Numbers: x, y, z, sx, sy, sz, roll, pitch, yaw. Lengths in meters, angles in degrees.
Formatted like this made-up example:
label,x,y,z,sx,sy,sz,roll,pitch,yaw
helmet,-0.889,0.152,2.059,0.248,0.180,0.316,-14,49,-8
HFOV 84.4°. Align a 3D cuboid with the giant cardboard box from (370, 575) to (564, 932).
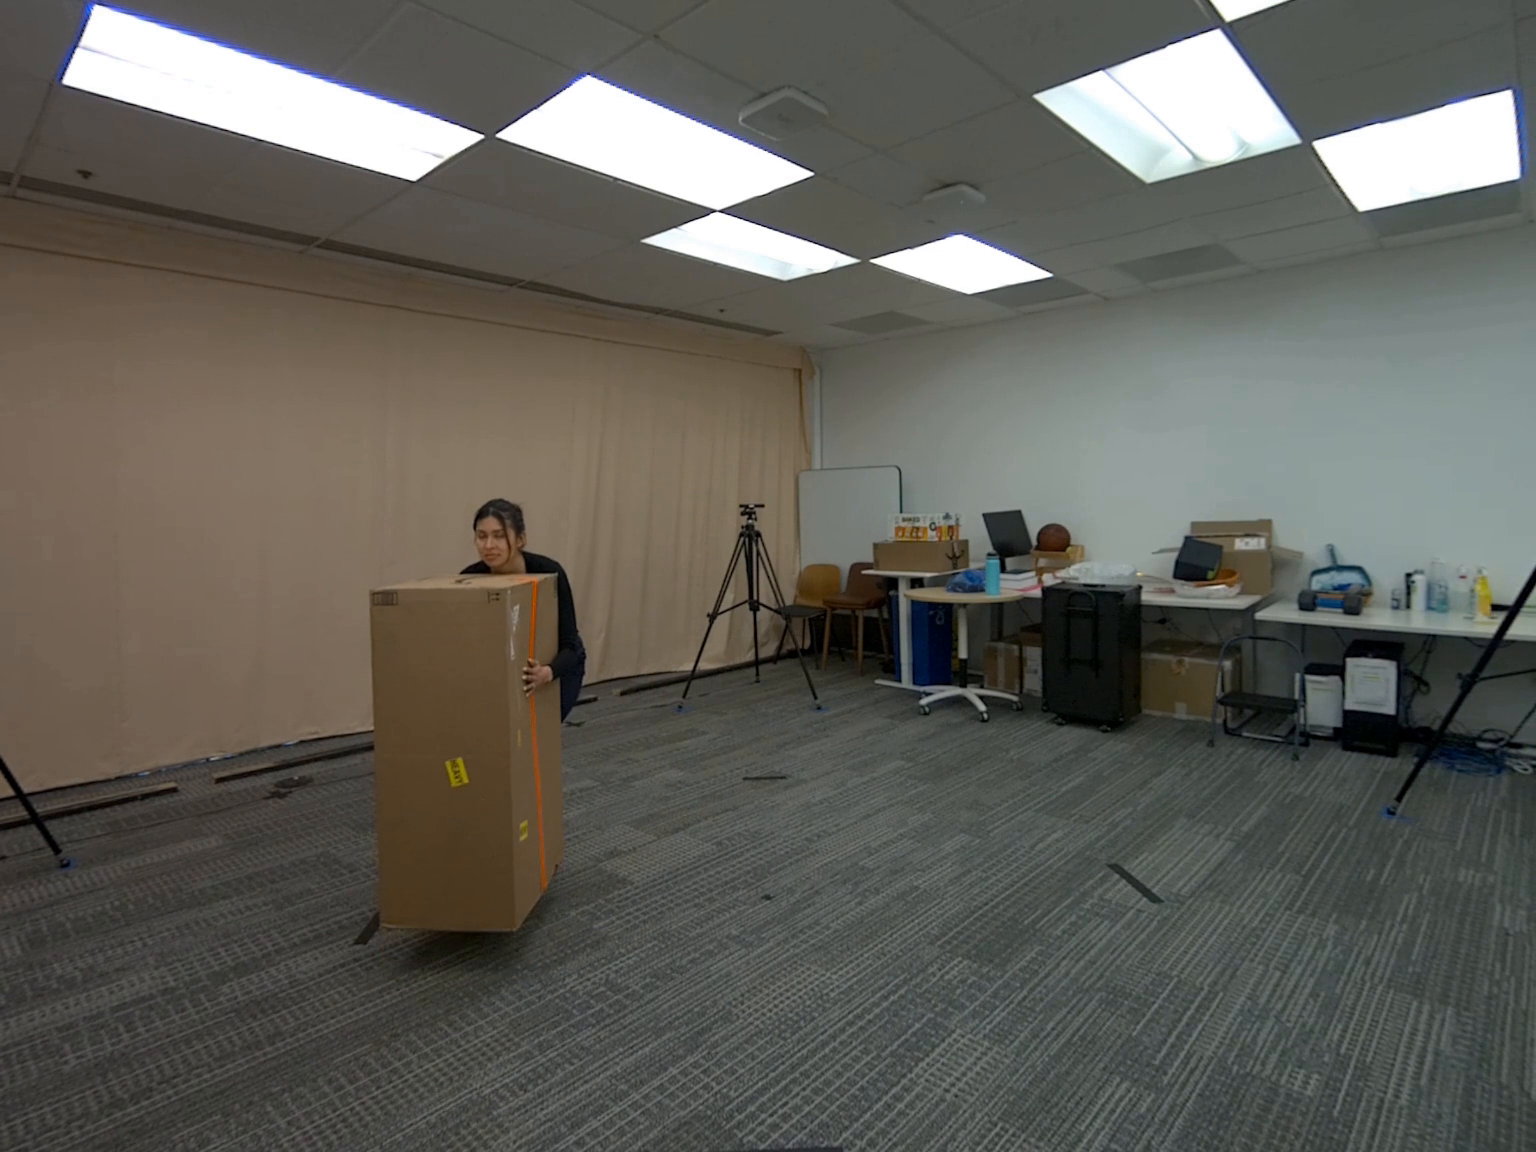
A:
label,x,y,z,sx,sy,sz,roll,pitch,yaw
giant cardboard box,-0.954,0.526,2.768,0.428,1.025,0.576,-1,2,2
